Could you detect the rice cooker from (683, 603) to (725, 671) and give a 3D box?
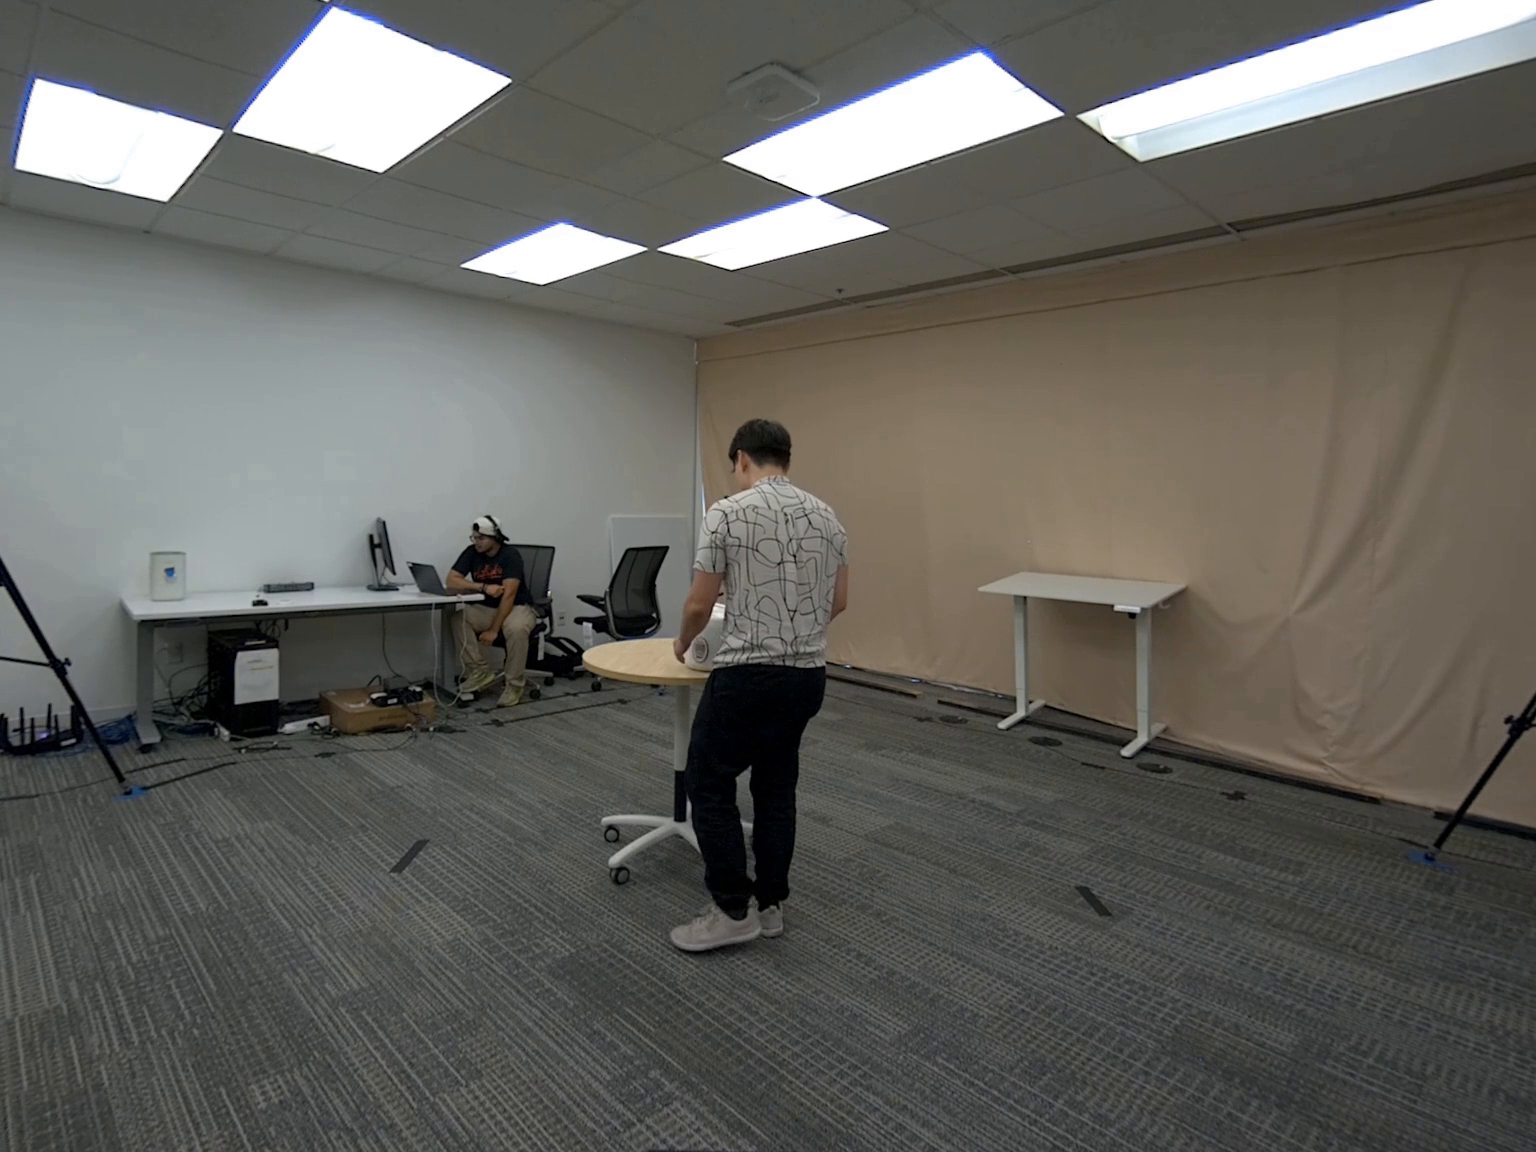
[{"bbox_3d":[-0.198,0.213,3.010,0.224,0.232,0.214,4,4,20],"label":"rice cooker"}]
